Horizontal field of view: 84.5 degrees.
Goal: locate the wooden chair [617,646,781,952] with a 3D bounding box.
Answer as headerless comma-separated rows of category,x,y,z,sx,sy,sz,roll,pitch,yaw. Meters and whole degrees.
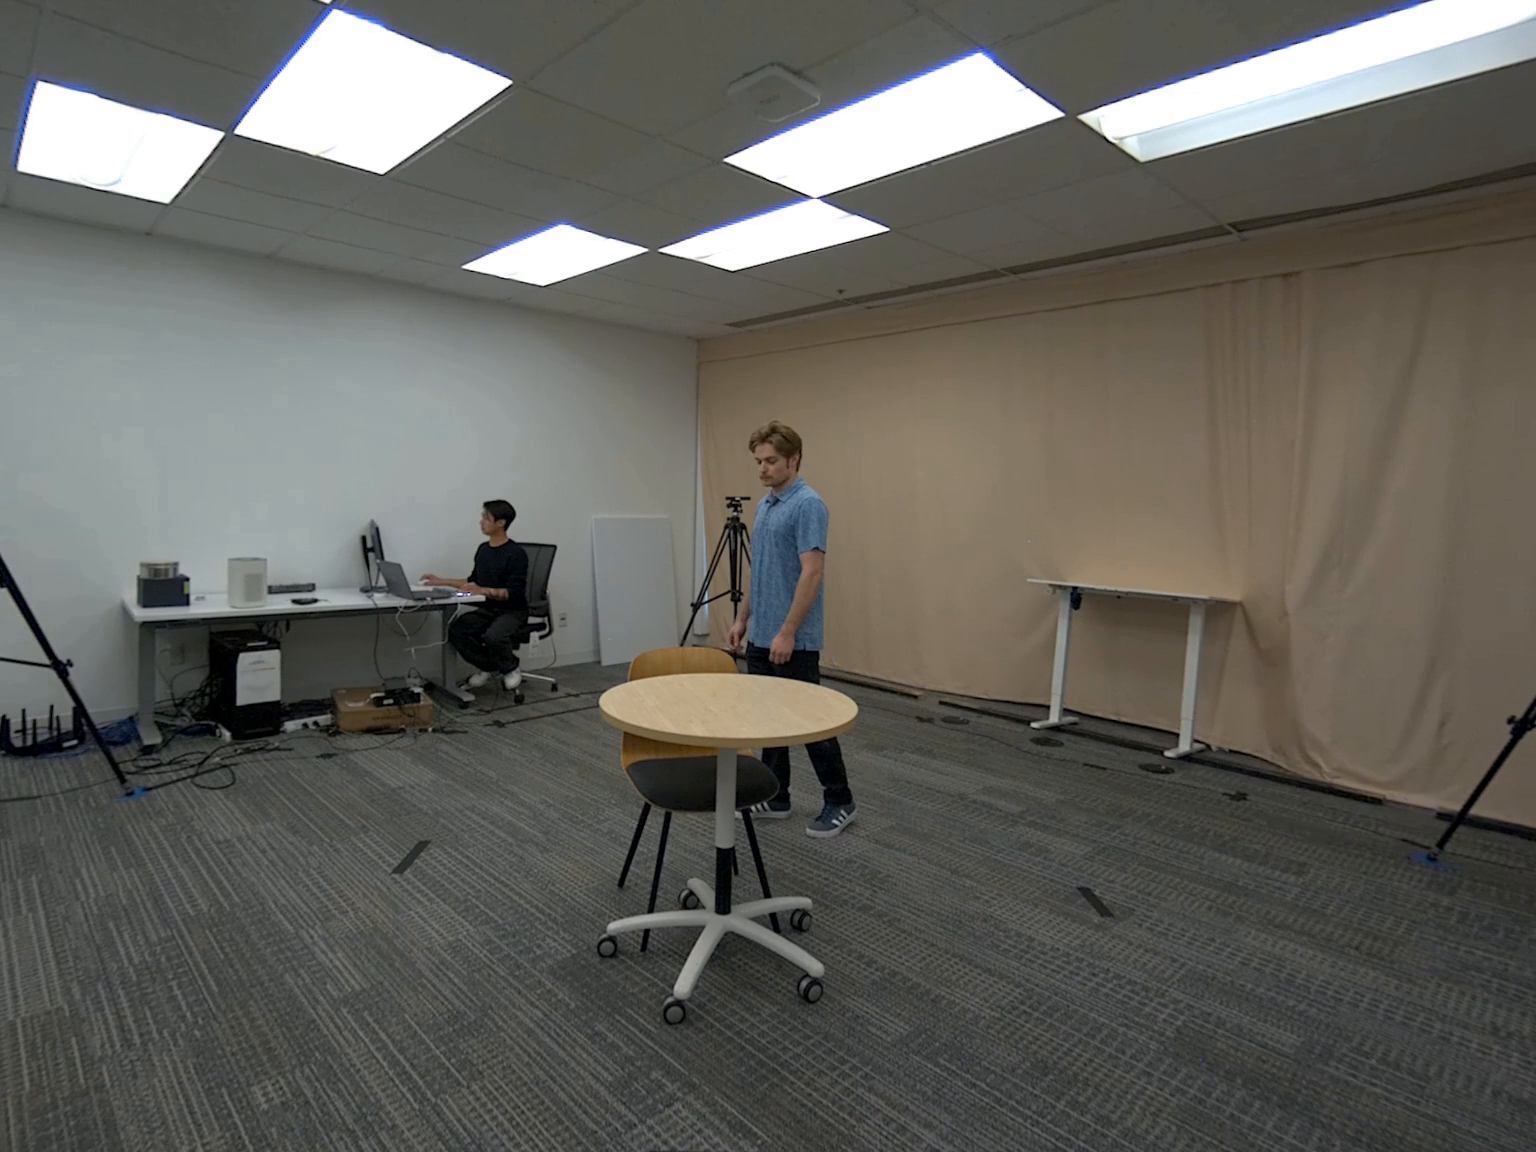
wooden chair,-0.244,0.704,2.812,0.471,0.878,0.530,1,-1,-19
